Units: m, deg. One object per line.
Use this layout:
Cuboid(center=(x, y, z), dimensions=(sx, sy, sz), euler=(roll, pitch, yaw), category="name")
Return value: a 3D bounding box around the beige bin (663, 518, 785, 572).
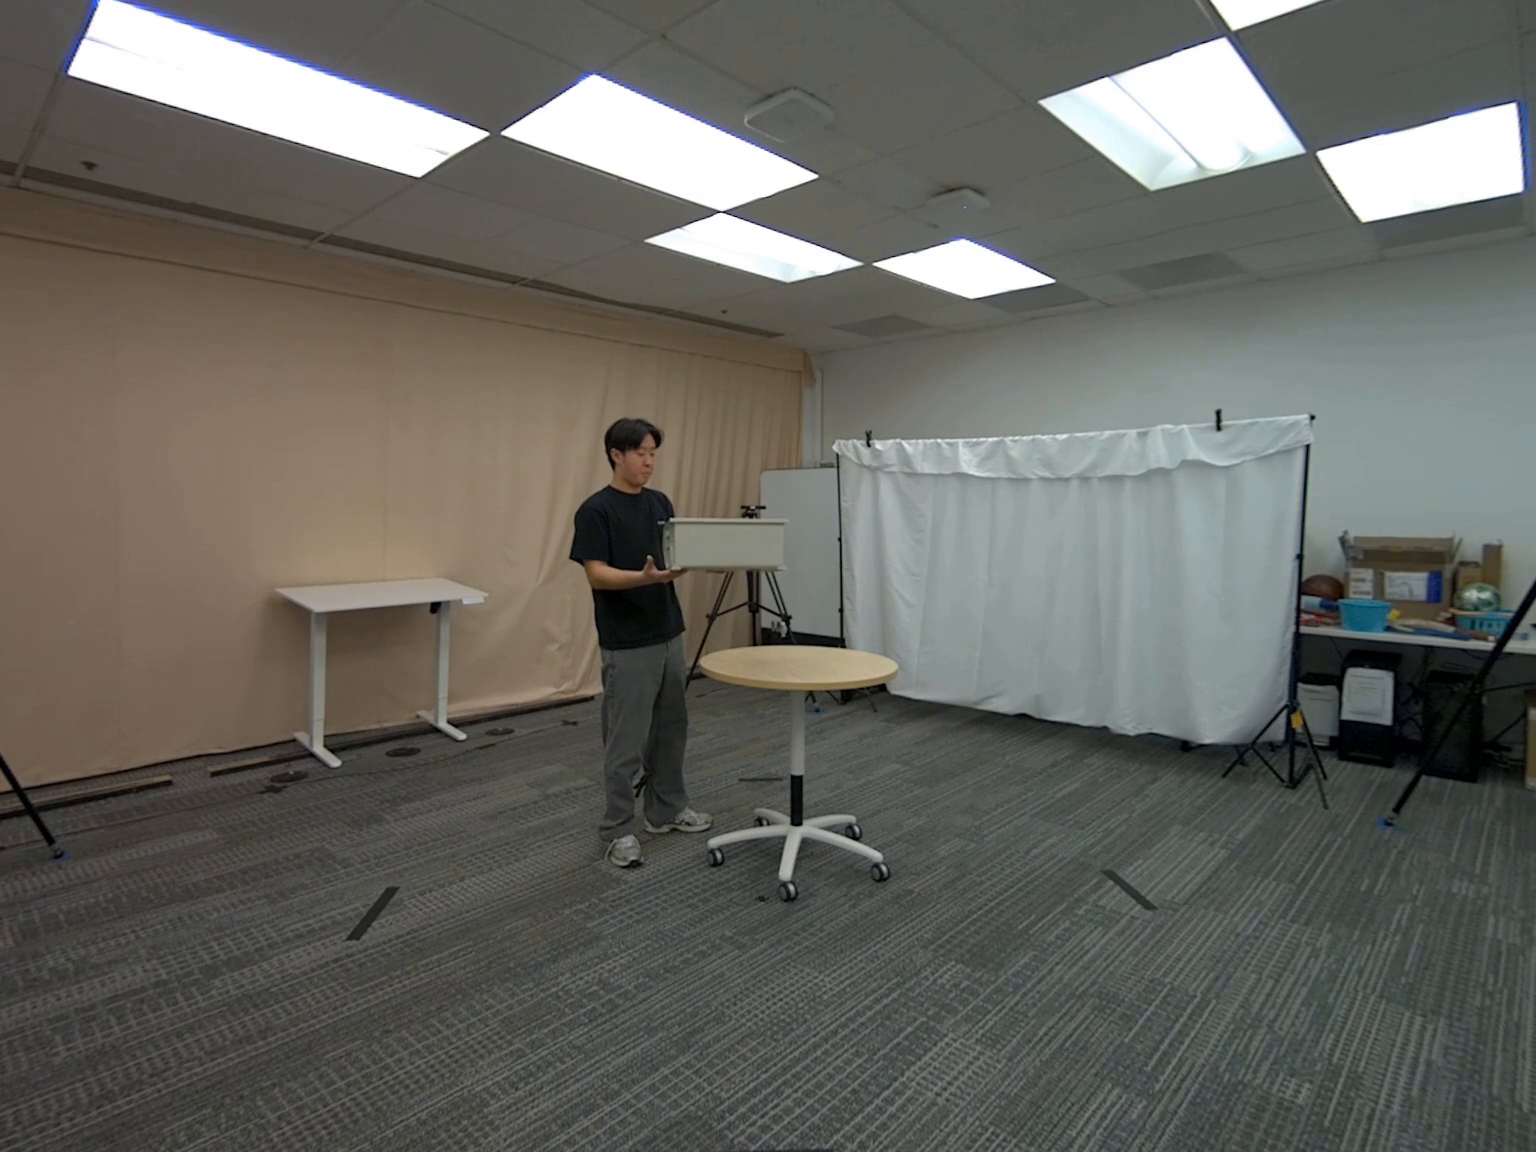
Cuboid(center=(-0.173, -0.102, 3.128), dimensions=(0.419, 0.189, 0.380), euler=(2, 0, -8), category="beige bin")
